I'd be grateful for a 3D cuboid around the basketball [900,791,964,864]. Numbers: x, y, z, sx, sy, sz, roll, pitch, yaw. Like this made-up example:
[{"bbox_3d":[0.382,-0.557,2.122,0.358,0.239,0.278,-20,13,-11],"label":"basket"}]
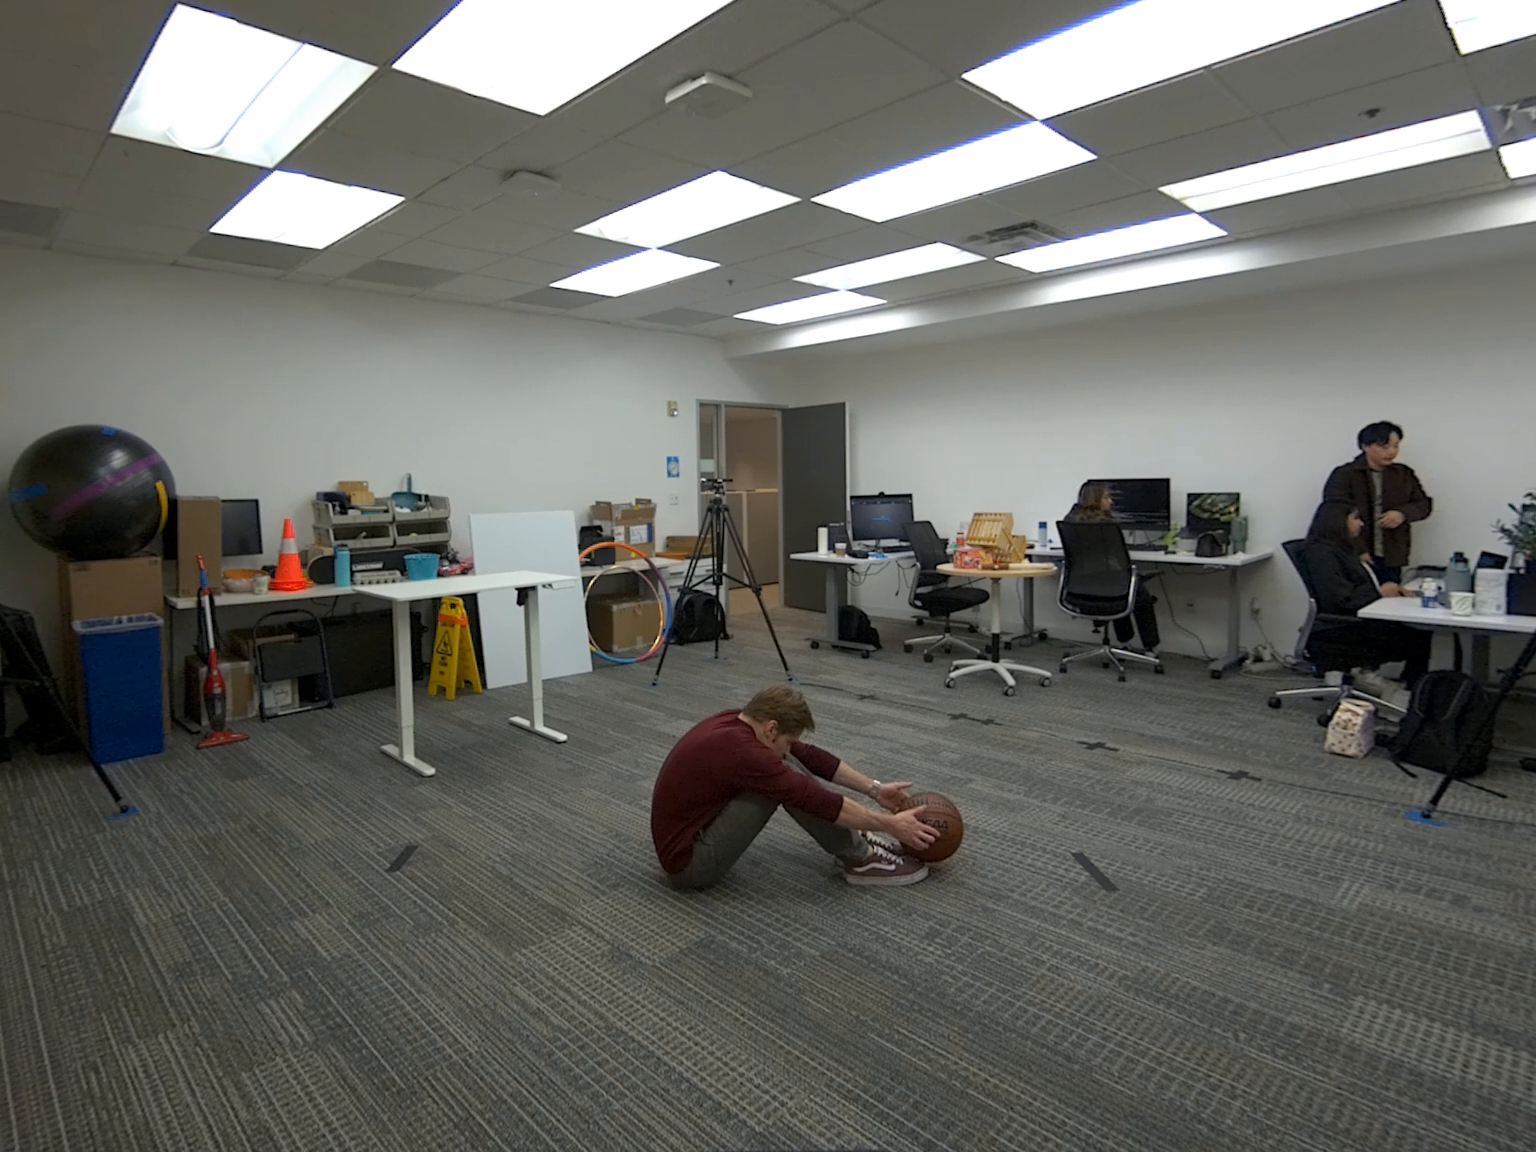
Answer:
[{"bbox_3d":[0.572,0.884,3.041,0.236,0.235,0.237,-1,5,-2],"label":"basketball"}]
